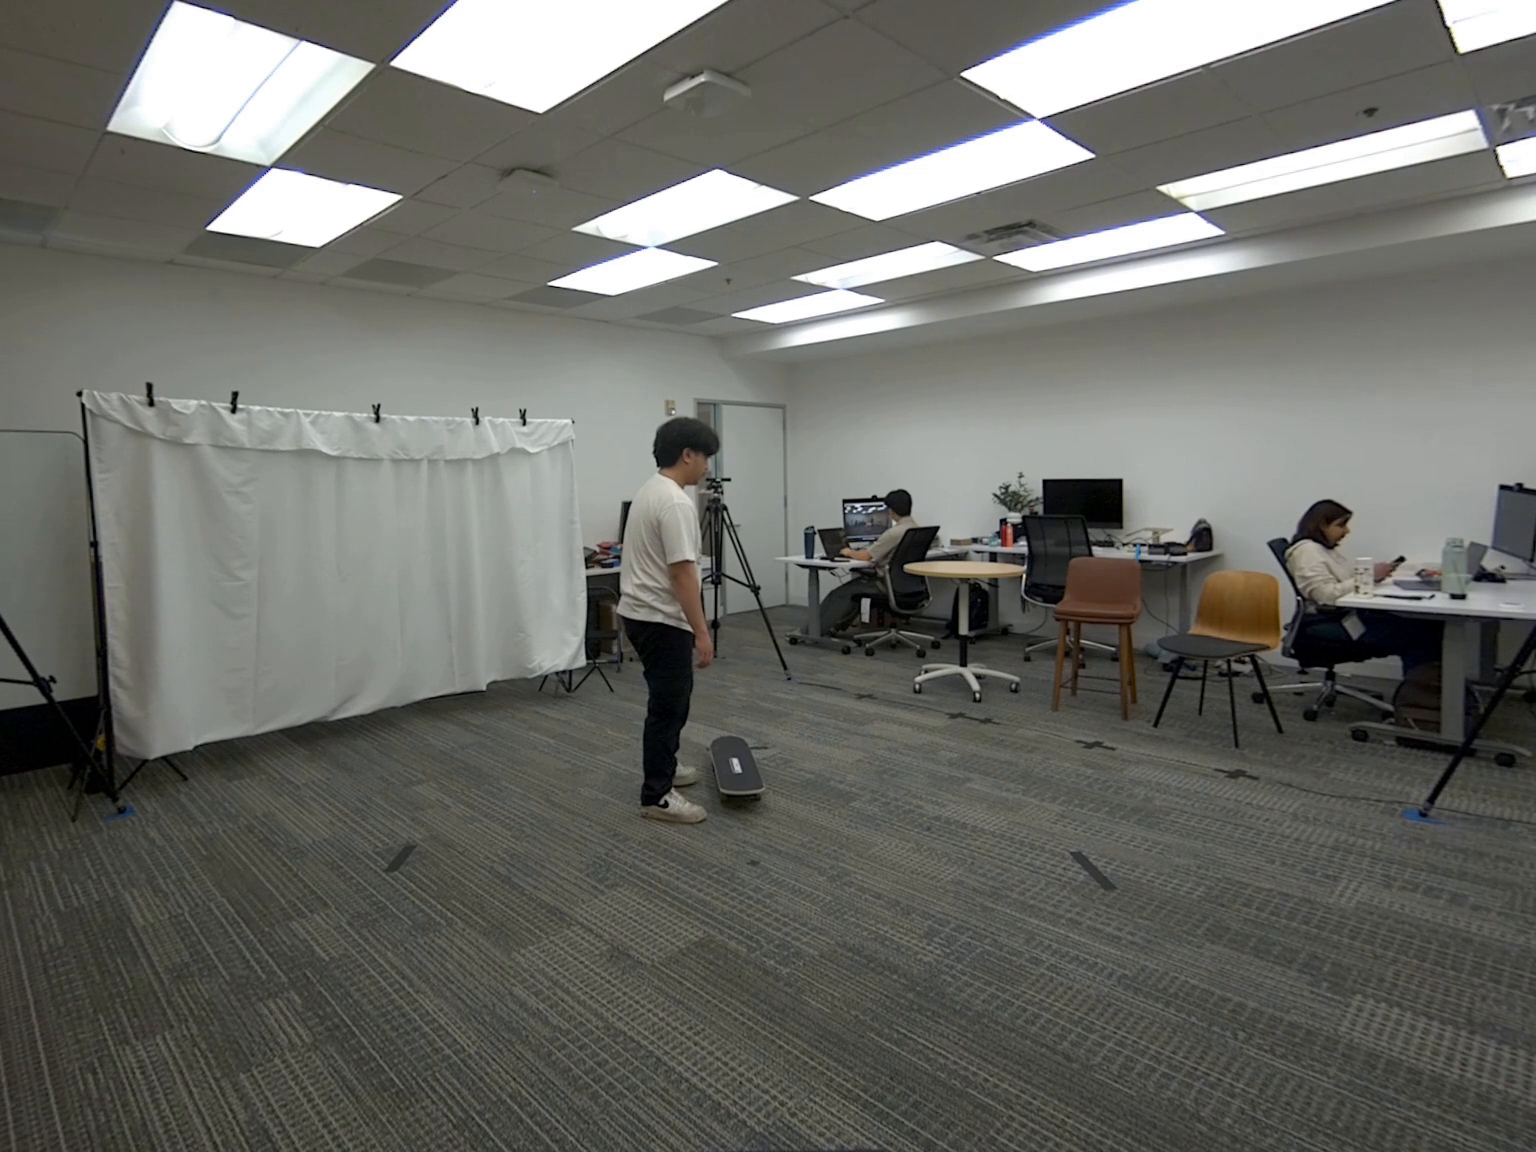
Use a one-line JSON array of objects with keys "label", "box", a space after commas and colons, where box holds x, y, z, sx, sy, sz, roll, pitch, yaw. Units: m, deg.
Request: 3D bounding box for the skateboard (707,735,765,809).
[{"label": "skateboard", "box": [-0.144, 0.896, 3.906, 0.192, 0.110, 0.794, -2, 6, -8]}]
